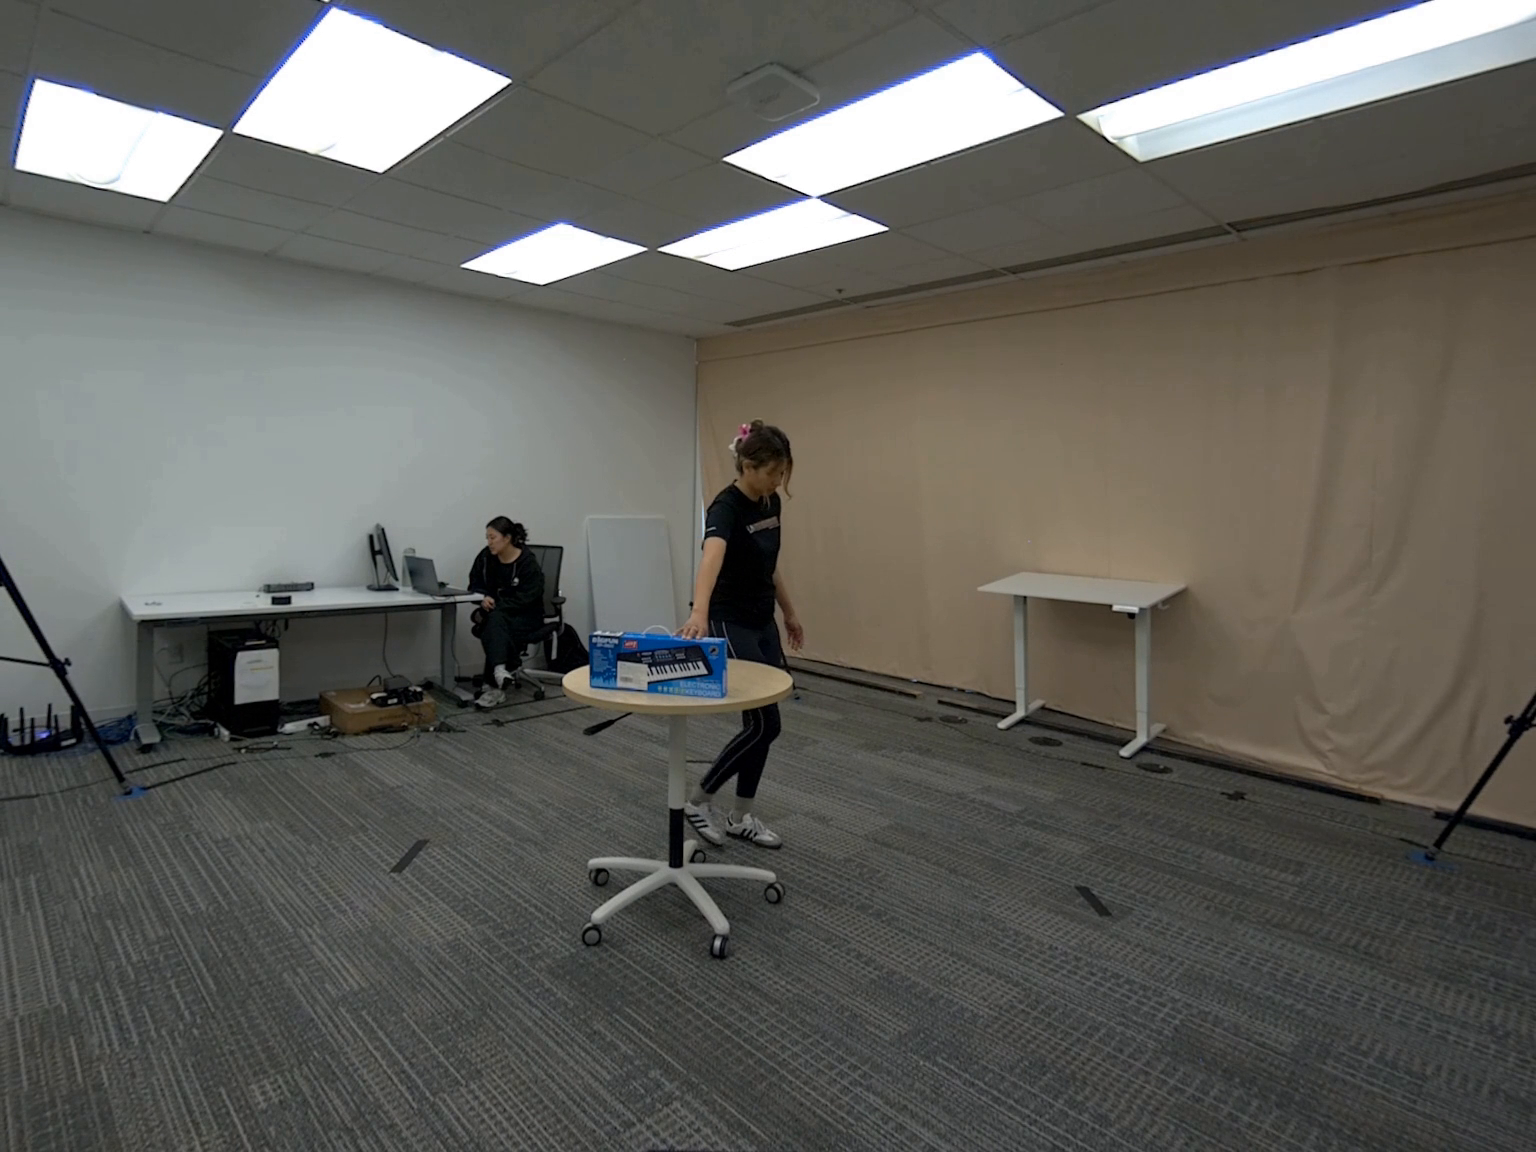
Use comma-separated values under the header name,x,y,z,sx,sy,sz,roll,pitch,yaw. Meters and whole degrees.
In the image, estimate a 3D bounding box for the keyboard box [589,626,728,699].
name,x,y,z,sx,sy,sz,roll,pitch,yaw
keyboard box,-0.349,0.275,2.607,0.443,0.175,0.058,3,7,16
